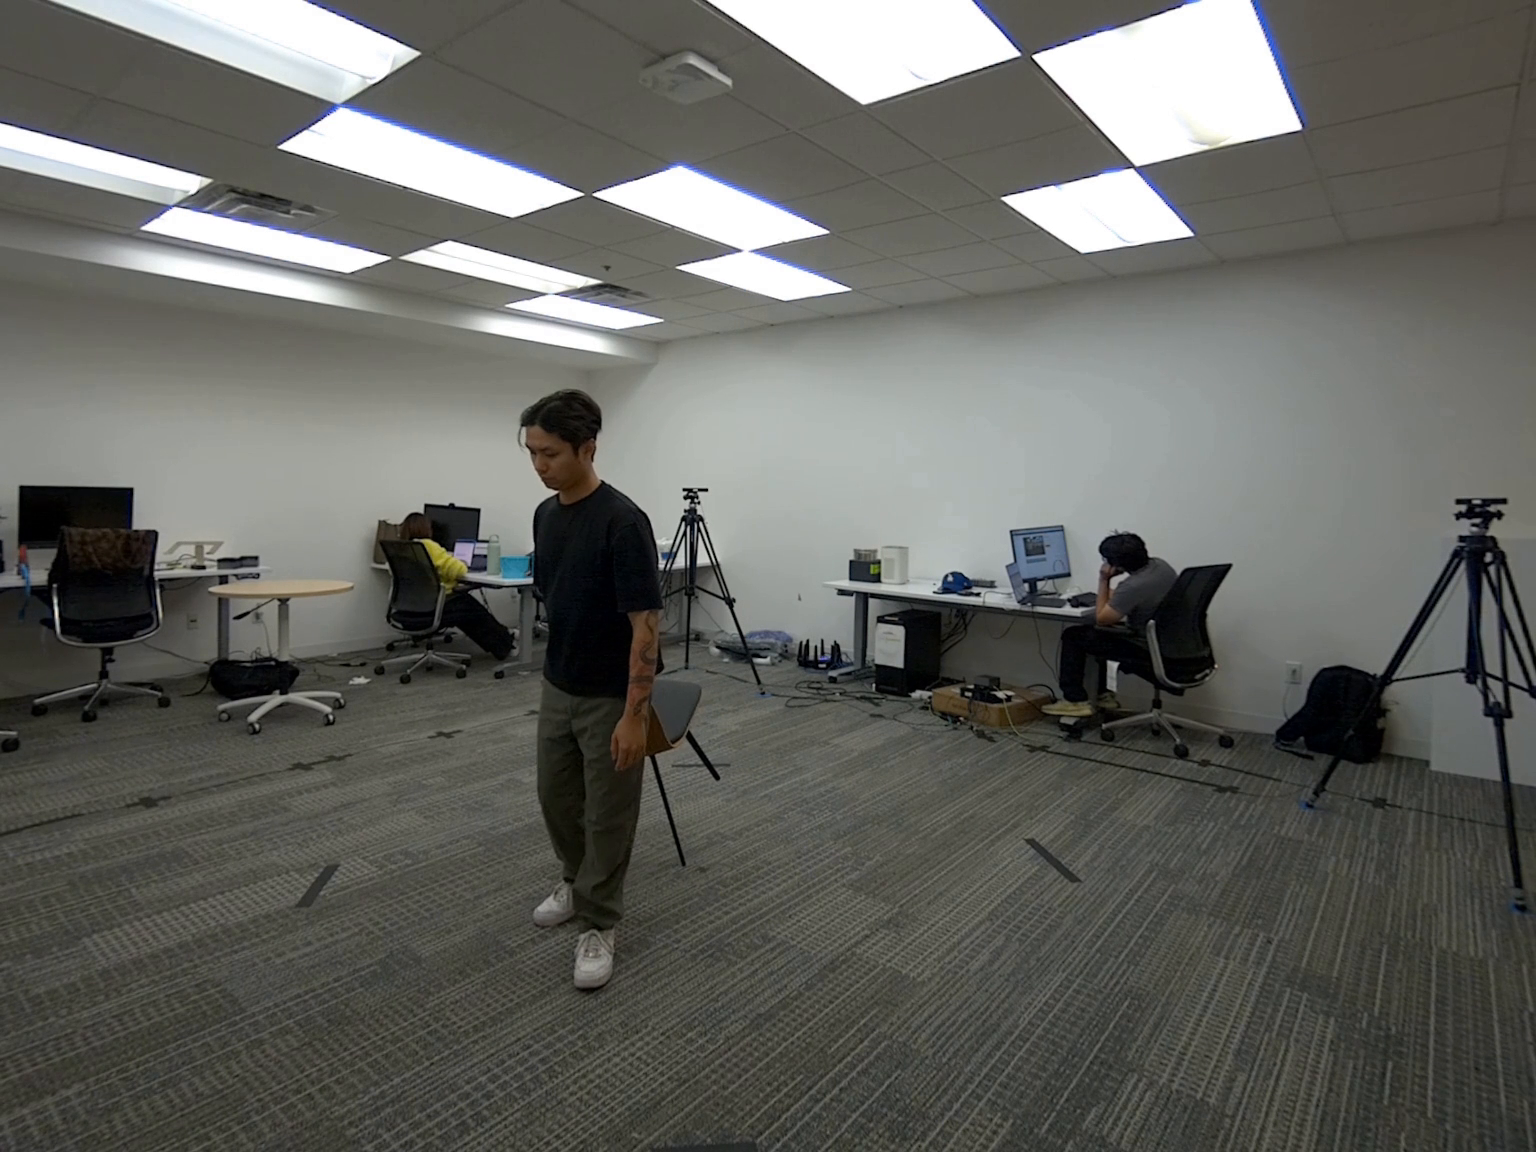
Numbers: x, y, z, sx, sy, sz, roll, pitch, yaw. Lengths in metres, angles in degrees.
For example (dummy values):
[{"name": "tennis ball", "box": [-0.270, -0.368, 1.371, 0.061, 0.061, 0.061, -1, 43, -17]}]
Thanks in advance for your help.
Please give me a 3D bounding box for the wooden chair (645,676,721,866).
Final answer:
[{"name": "wooden chair", "box": [-0.519, 0.565, 3.197, 0.487, 0.851, 0.529, 3, 34, 17]}]
